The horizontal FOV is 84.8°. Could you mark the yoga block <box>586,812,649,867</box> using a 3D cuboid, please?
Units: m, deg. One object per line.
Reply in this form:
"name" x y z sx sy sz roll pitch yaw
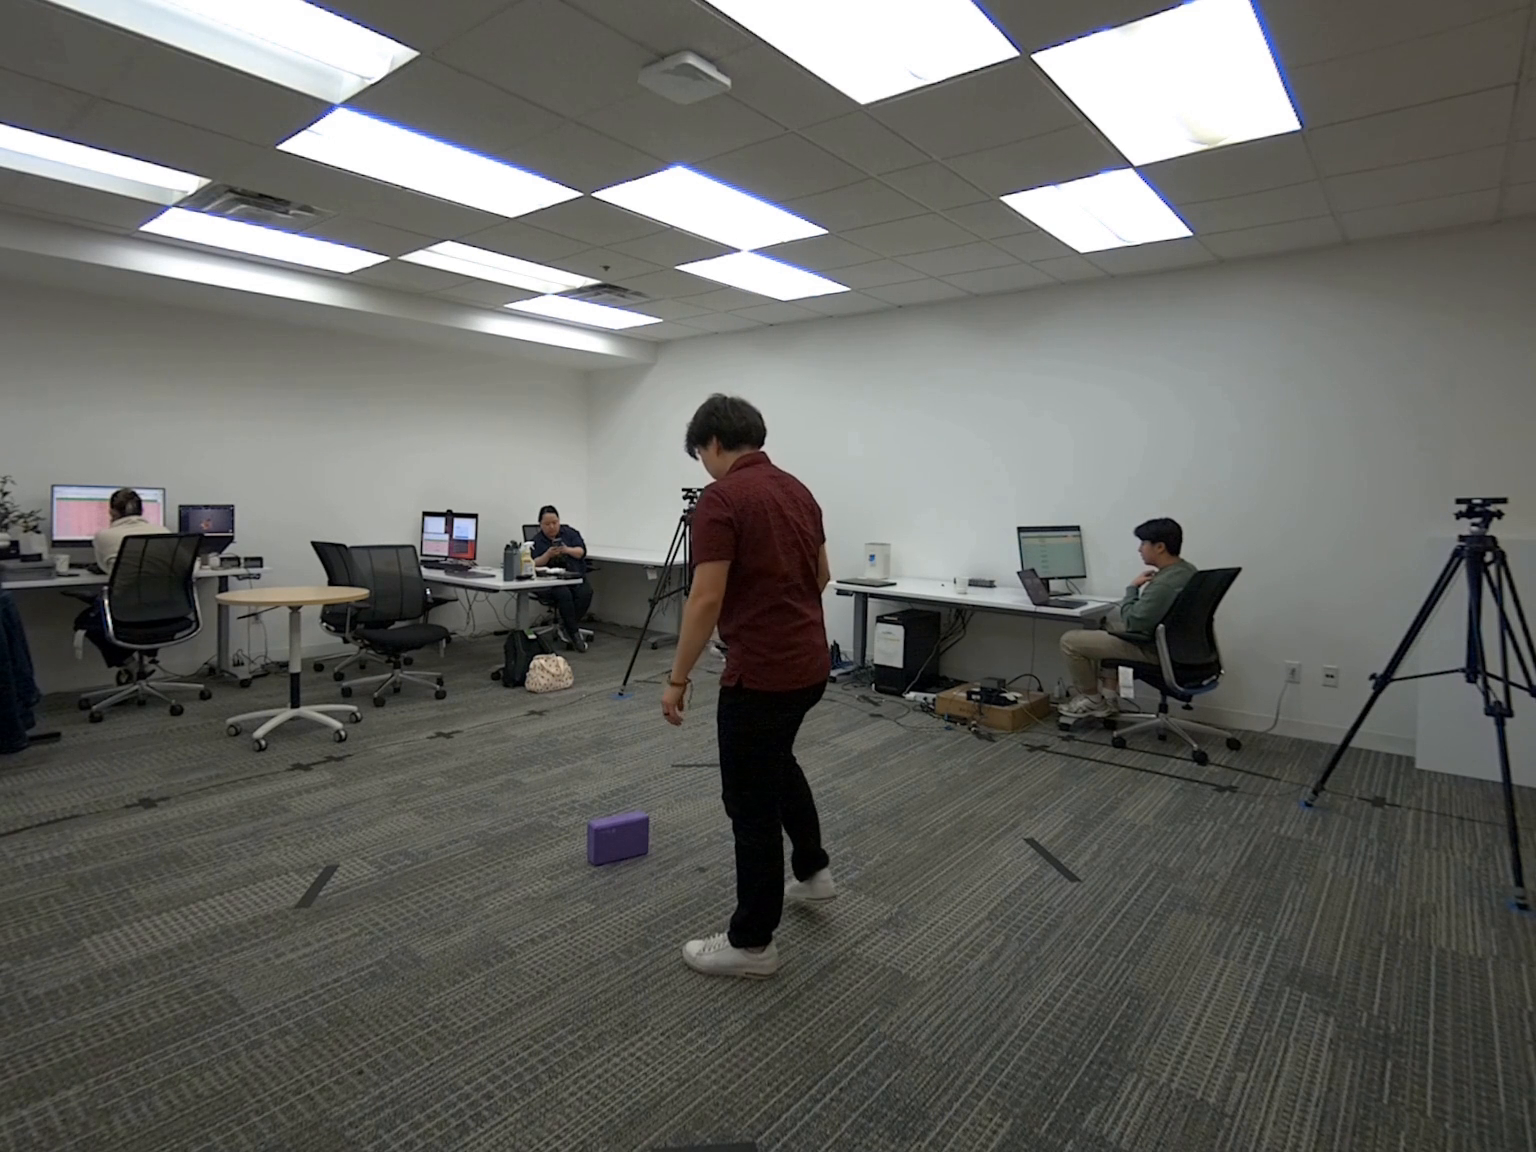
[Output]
"yoga block" -0.572 0.978 3.196 0.223 0.148 0.079 -2 4 -34
